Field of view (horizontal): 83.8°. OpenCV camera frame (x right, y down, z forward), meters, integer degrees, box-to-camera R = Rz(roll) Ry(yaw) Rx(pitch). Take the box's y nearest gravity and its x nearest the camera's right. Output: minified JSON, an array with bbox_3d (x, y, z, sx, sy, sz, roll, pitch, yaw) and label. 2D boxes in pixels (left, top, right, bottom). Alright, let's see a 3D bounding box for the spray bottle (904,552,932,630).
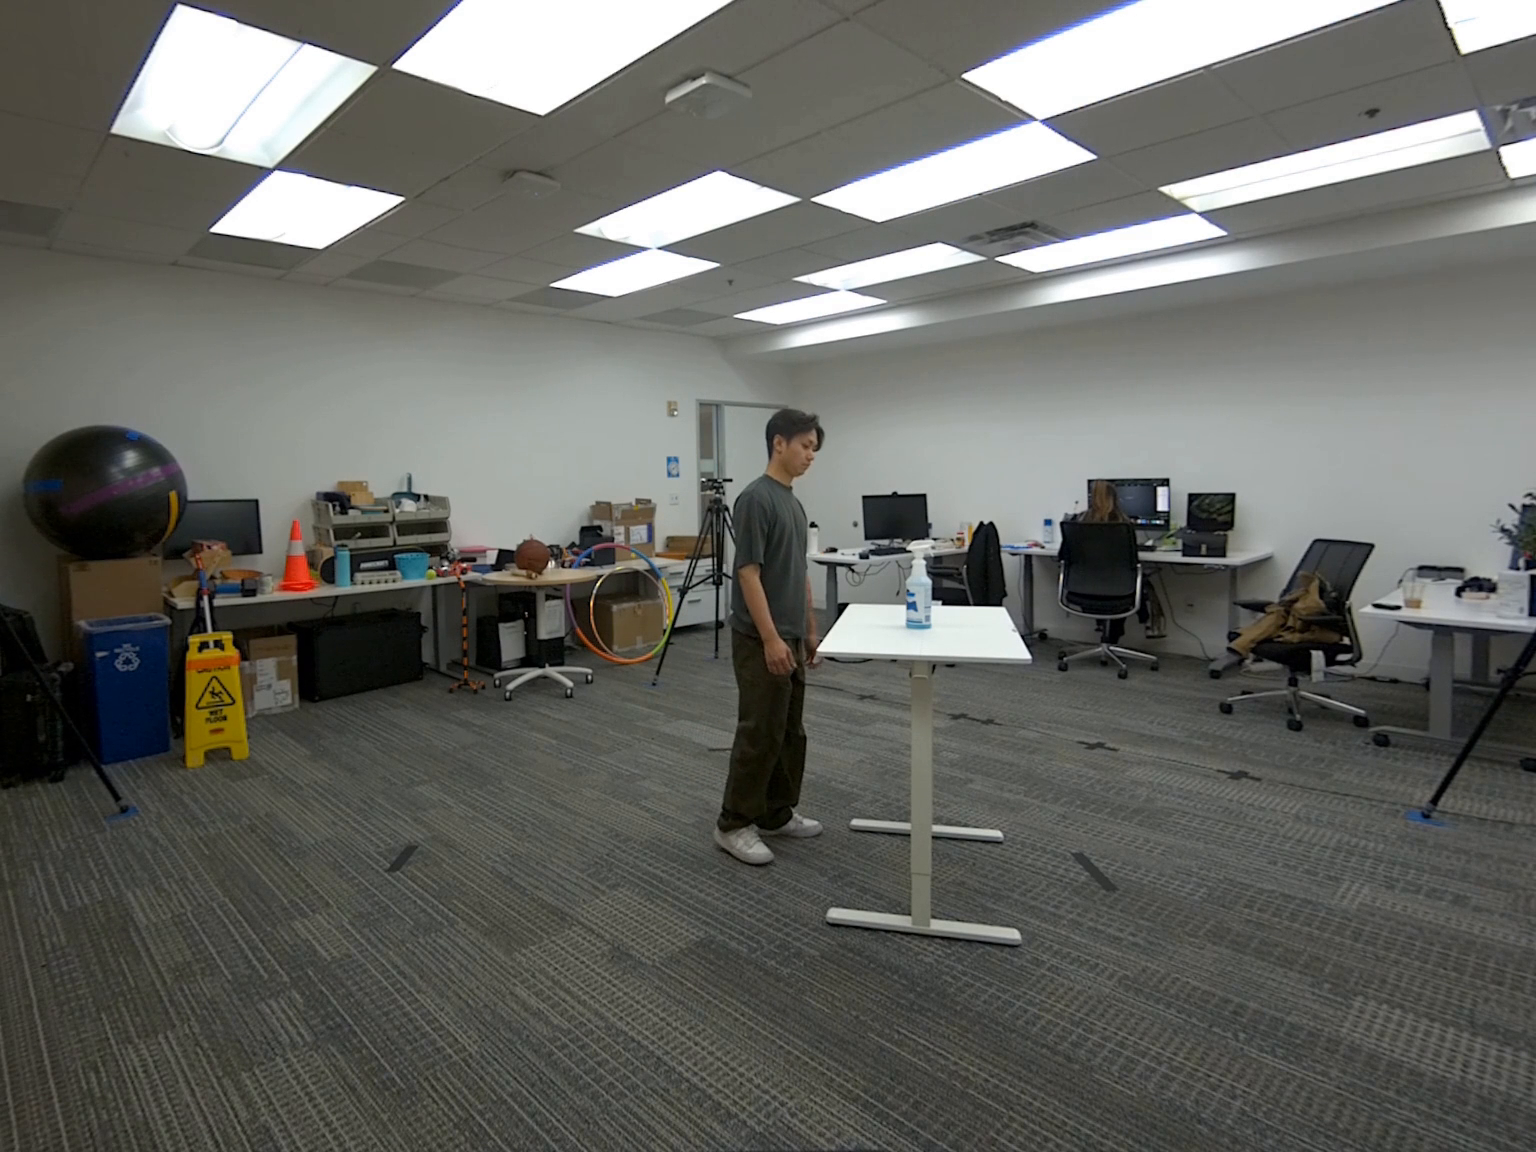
[{"bbox_3d":[0.518,0.030,2.902,0.092,0.297,0.085,1,1,27],"label":"spray bottle"}]
